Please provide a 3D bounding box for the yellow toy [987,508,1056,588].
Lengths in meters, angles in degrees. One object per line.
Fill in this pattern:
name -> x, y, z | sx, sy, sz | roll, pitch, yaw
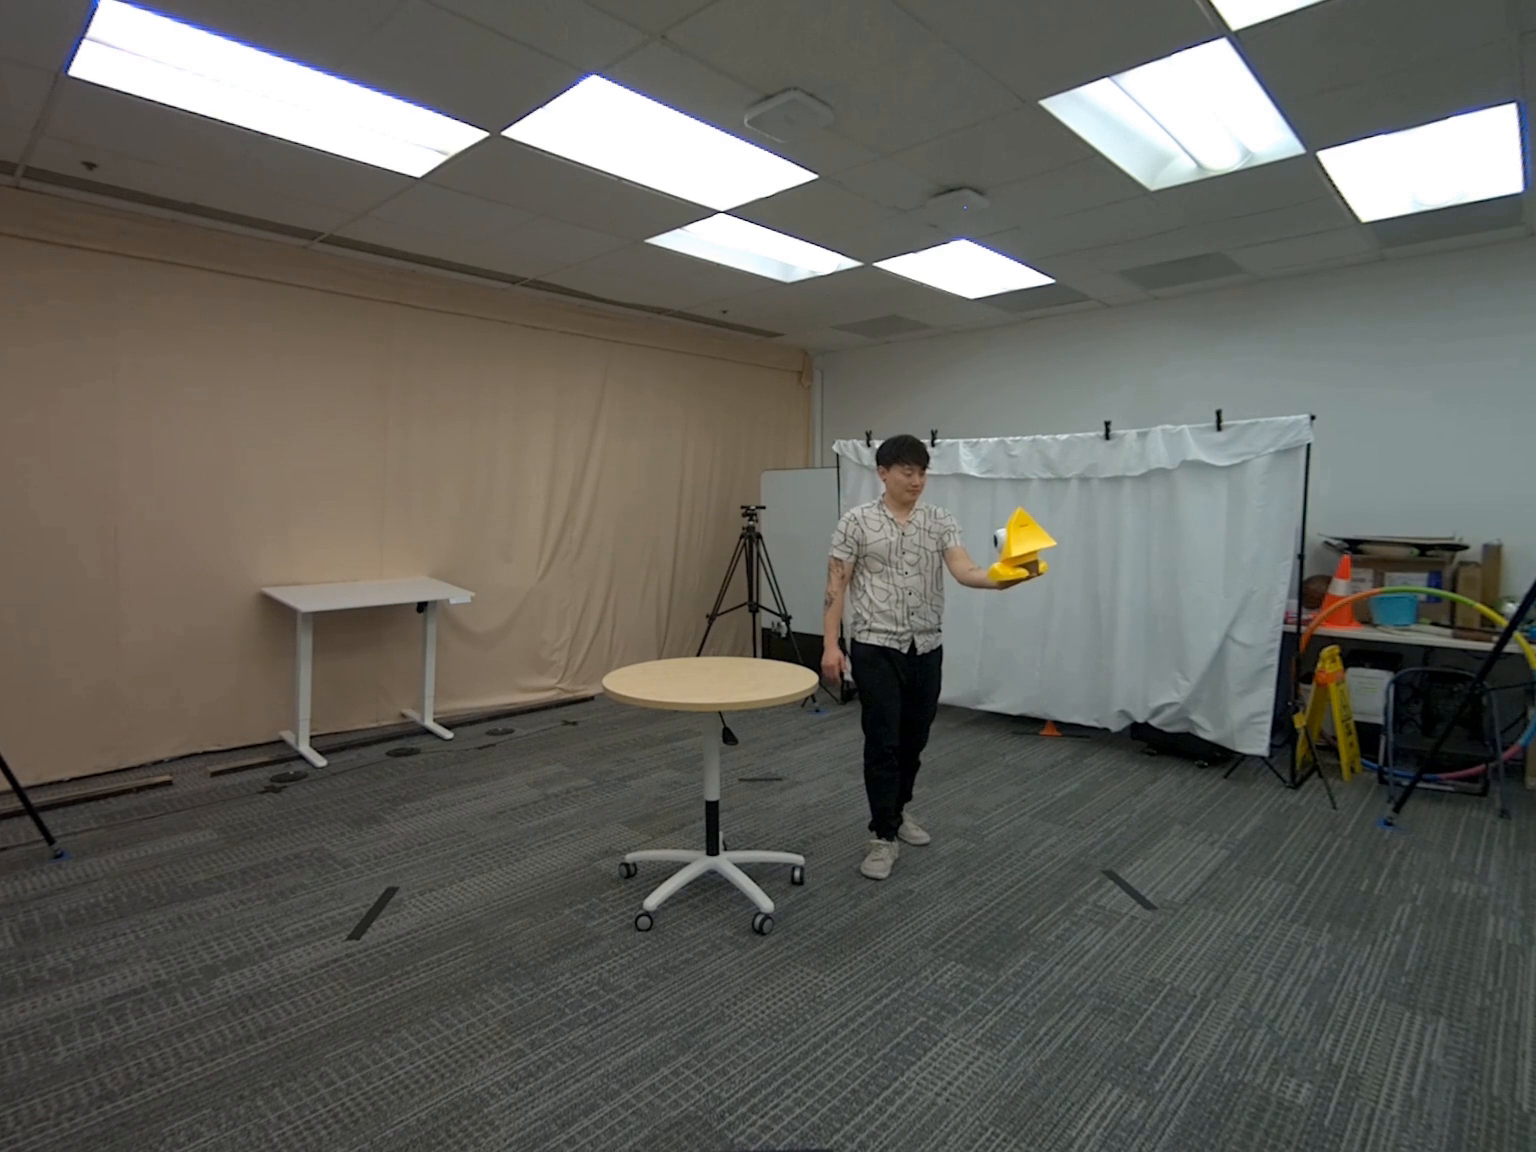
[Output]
yellow toy -> 0.841, -0.117, 2.892 | 0.201, 0.230, 0.197 | -13, 4, -25
